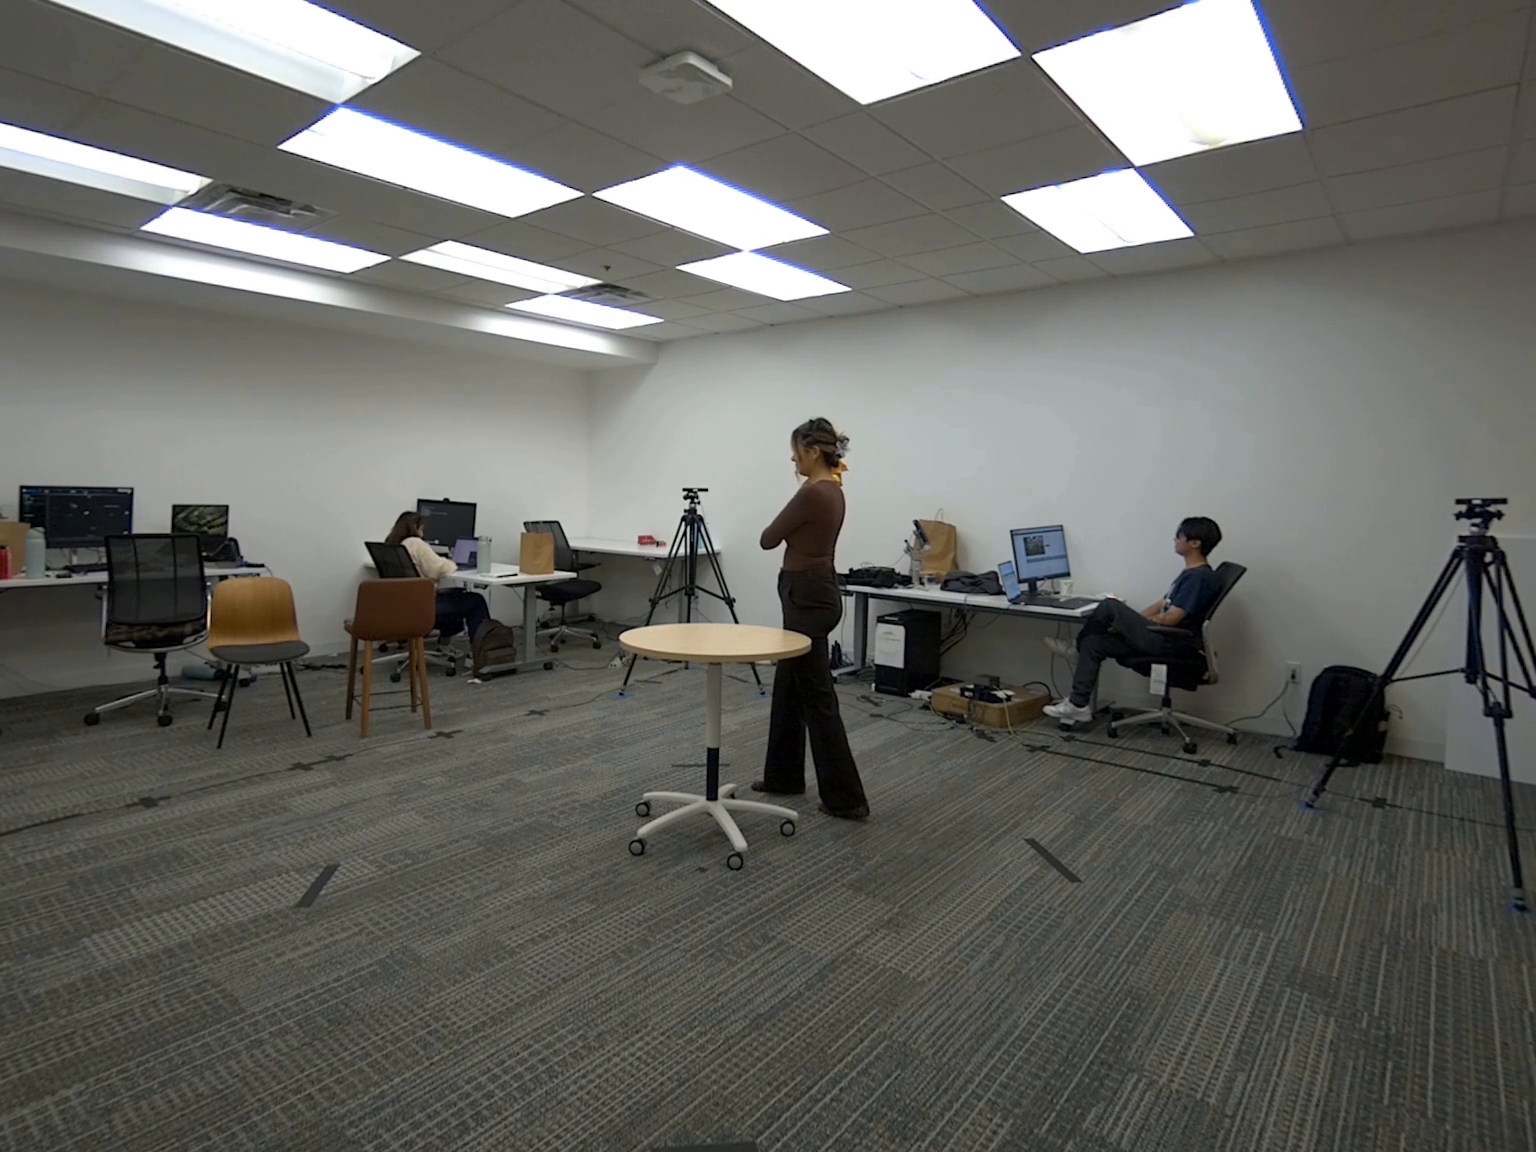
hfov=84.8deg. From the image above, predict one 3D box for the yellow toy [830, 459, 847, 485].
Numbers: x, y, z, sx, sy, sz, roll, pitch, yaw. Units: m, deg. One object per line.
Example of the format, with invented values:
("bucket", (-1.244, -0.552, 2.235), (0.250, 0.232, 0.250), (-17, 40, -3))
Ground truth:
("yellow toy", (0.256, -0.533, 3.882), (0.196, 0.233, 0.200), (-5, -8, 16))
